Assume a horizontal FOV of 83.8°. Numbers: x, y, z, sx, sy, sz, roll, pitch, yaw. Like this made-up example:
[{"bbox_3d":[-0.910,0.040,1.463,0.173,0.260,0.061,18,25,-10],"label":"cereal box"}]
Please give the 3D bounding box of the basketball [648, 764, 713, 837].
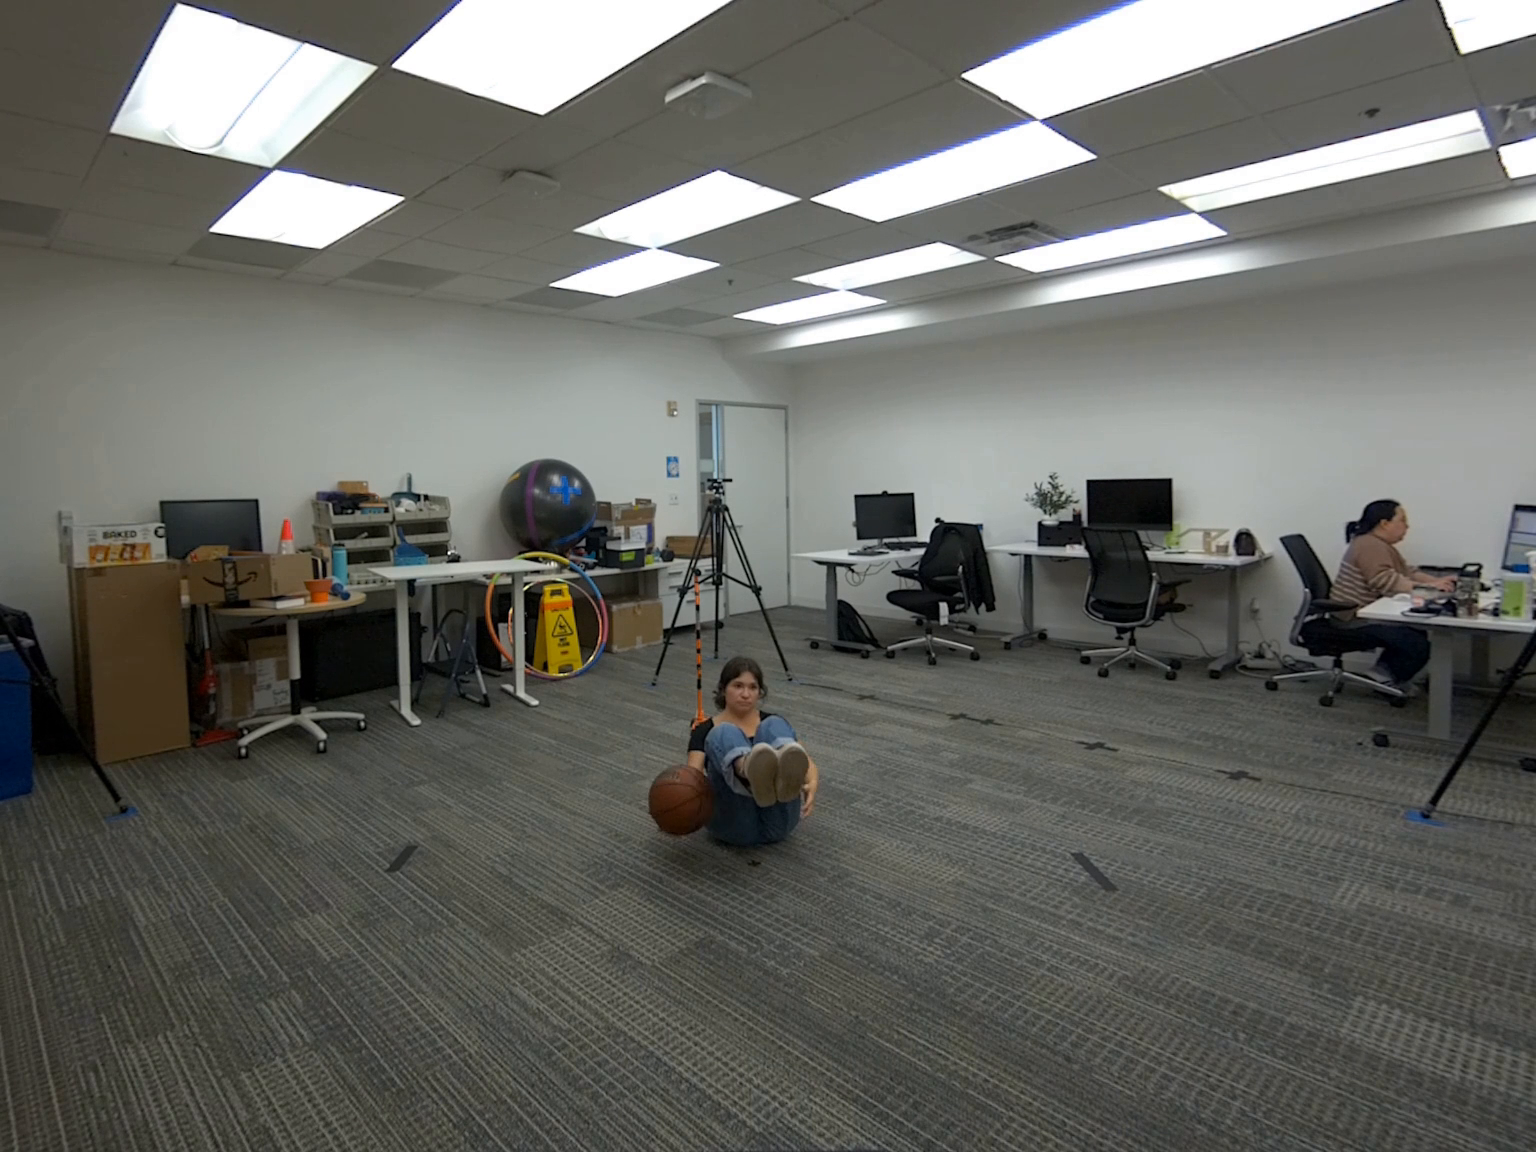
[{"bbox_3d":[-0.292,0.787,3.063,0.236,0.235,0.237,-1,5,-2],"label":"basketball"}]
